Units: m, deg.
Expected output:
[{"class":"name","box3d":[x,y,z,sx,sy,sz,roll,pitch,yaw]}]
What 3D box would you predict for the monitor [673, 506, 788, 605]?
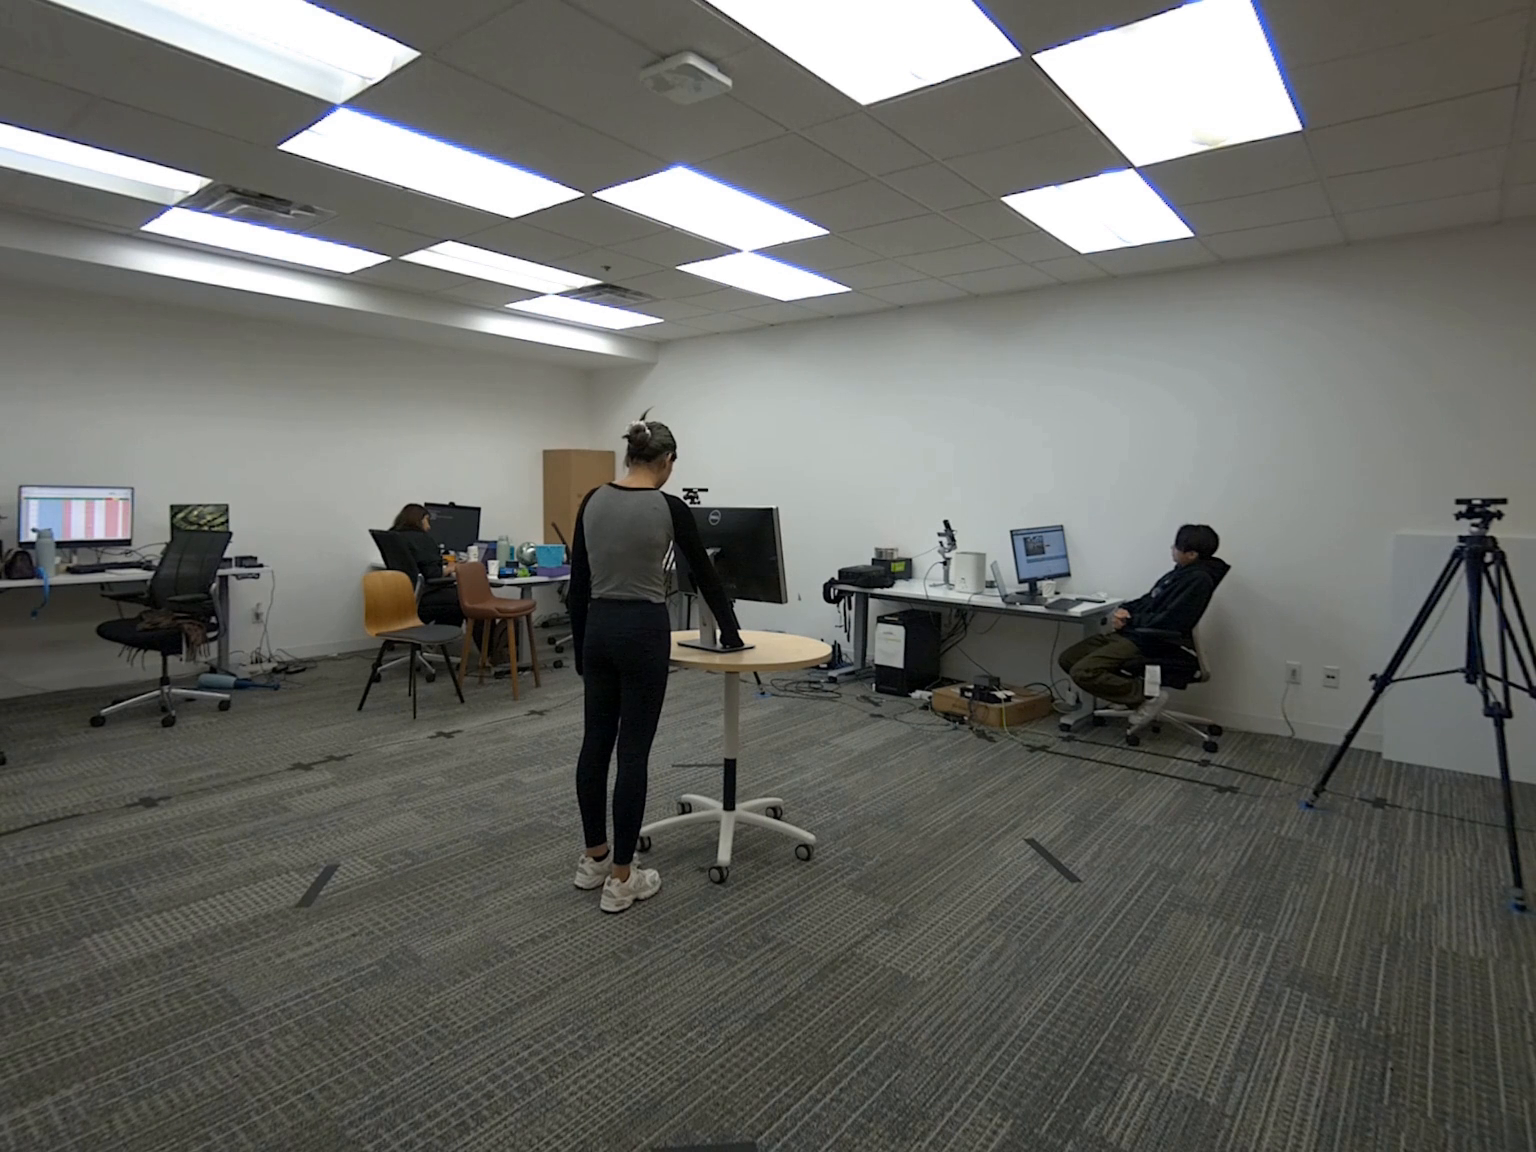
[{"class":"monitor","box3d":[-0.200,0.000,3.249,0.557,0.522,0.181,4,2,40]}]
